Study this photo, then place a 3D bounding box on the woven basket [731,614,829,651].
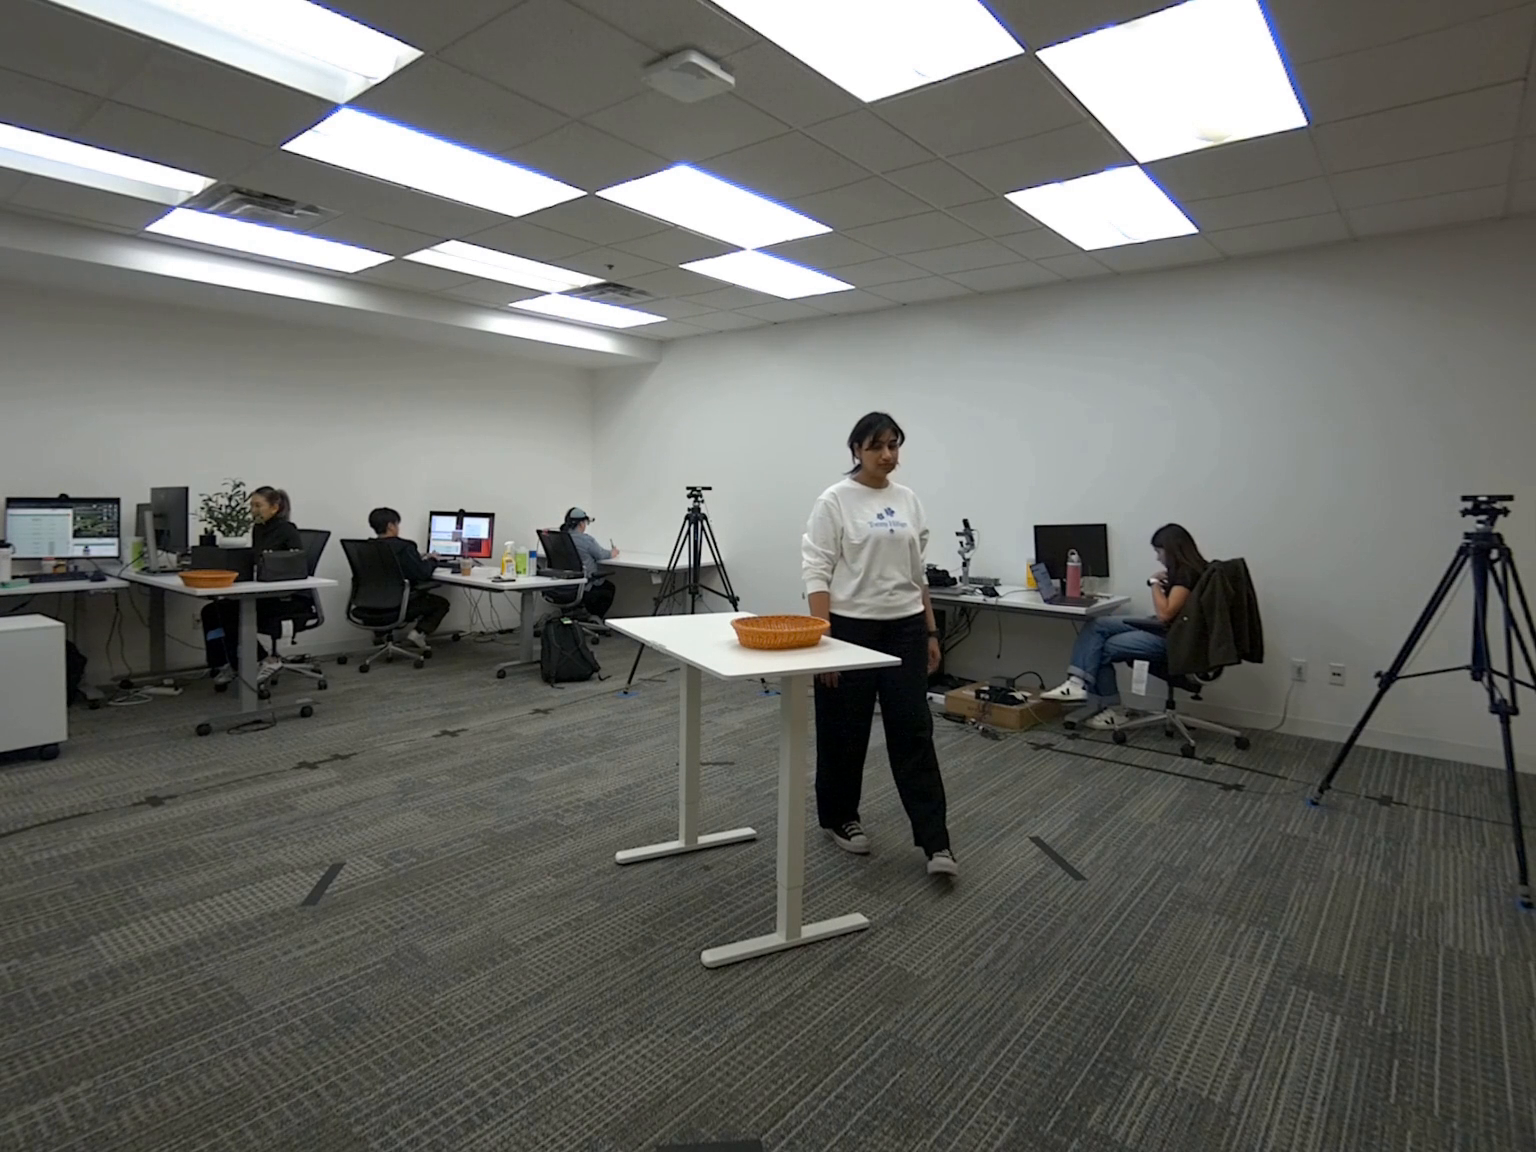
[{"bbox_3d":[0.042,0.187,2.787,0.340,0.073,0.261,-3,8,-36],"label":"woven basket"}]
